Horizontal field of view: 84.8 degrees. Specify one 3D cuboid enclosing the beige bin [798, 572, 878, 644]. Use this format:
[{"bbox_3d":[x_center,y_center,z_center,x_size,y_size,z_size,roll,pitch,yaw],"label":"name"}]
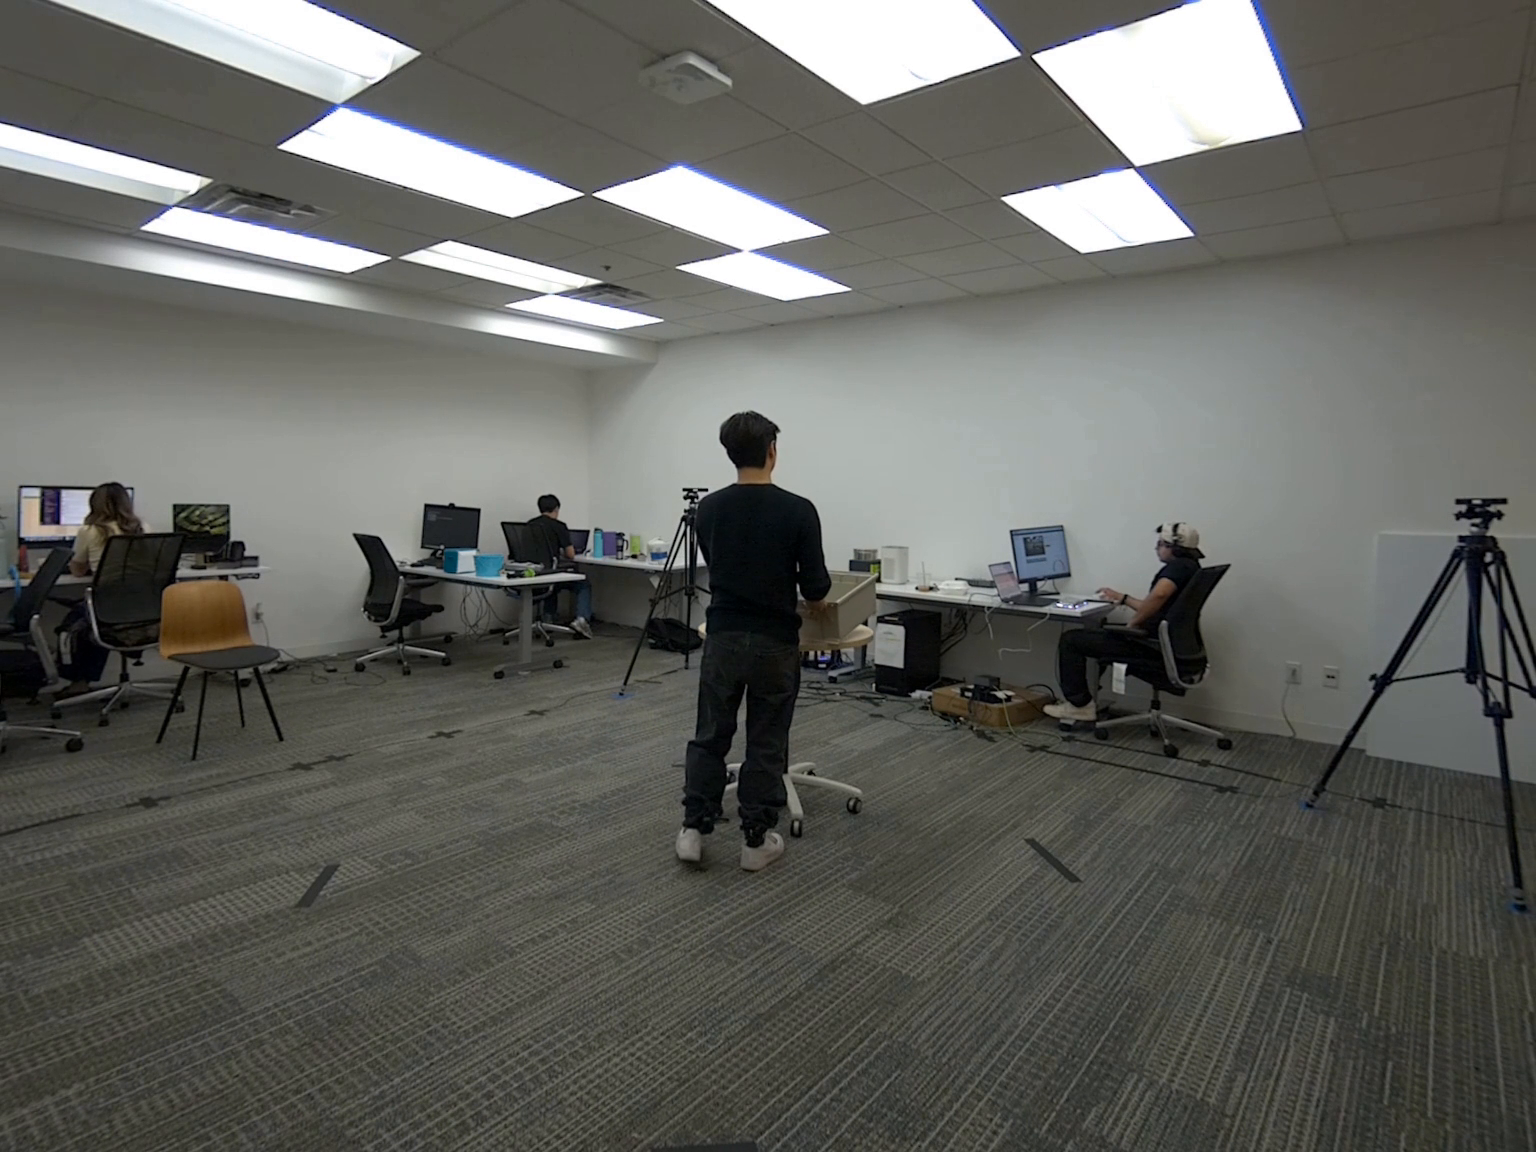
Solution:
[{"bbox_3d":[0.208,0.119,3.610,0.389,0.186,0.416,5,17,30],"label":"beige bin"}]
